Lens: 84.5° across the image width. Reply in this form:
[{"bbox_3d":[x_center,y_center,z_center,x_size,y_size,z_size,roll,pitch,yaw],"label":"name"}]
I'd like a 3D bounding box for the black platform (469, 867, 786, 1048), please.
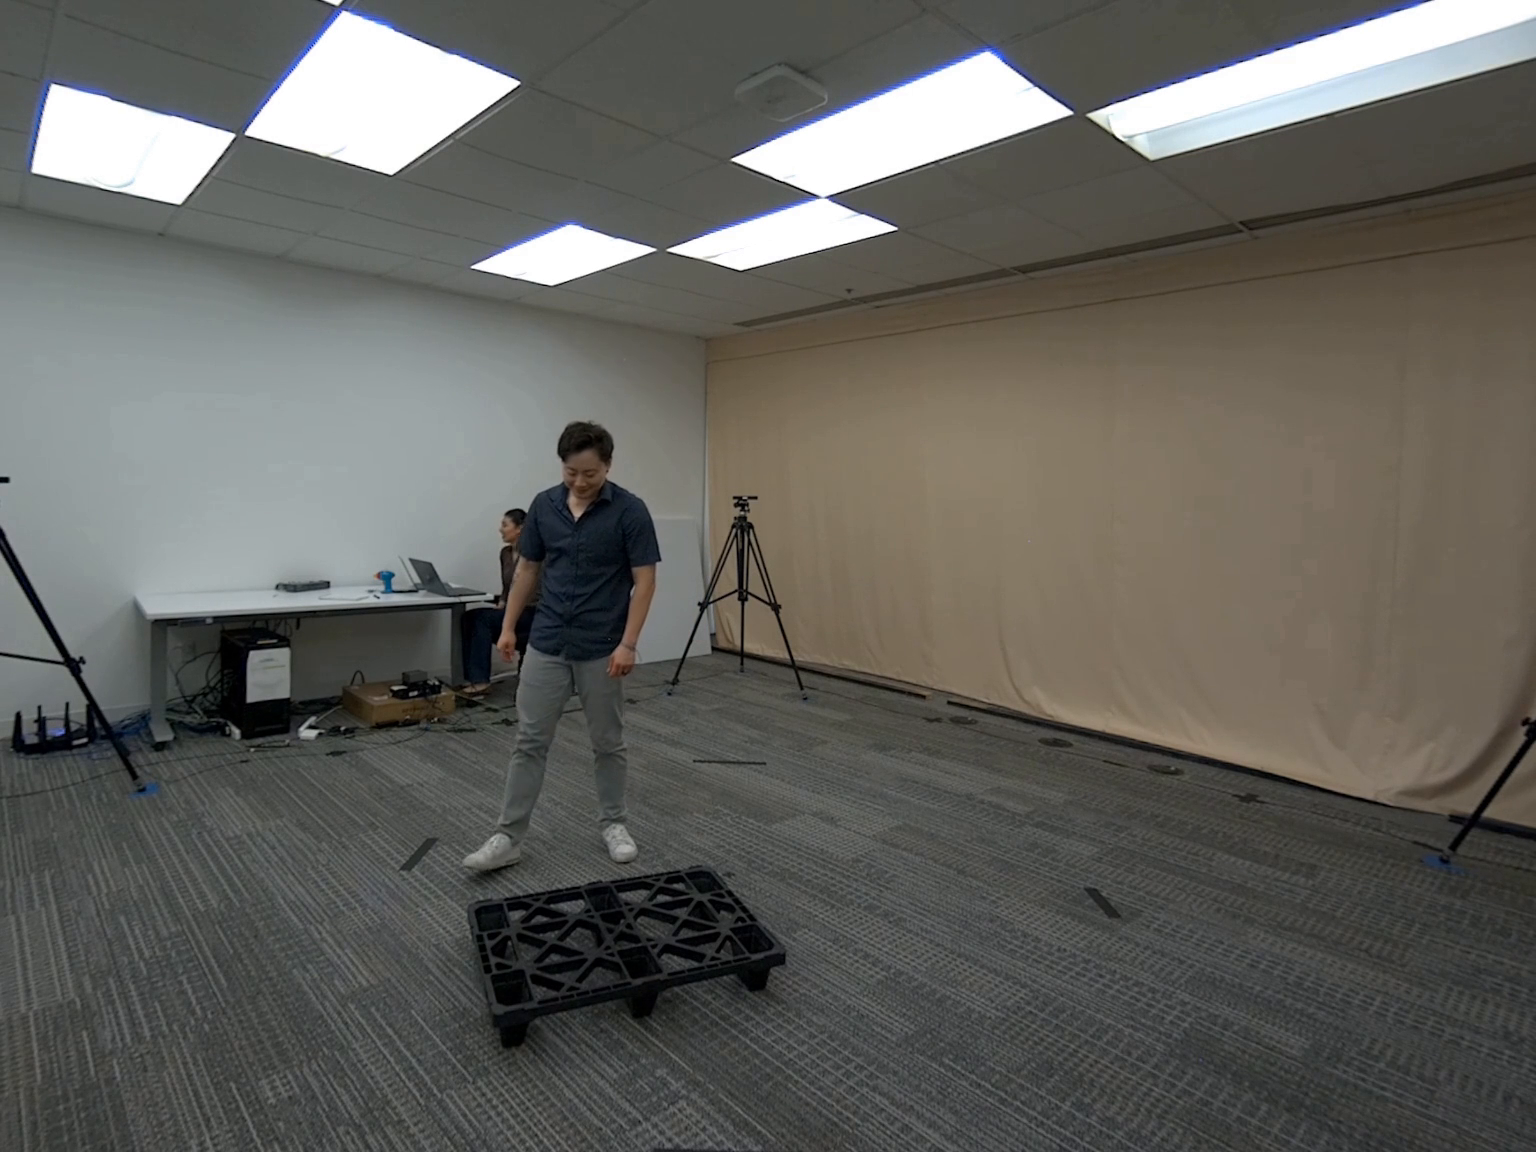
[{"bbox_3d":[-0.432,1.091,2.451,0.792,0.143,0.618,-1,7,-24],"label":"black platform"}]
